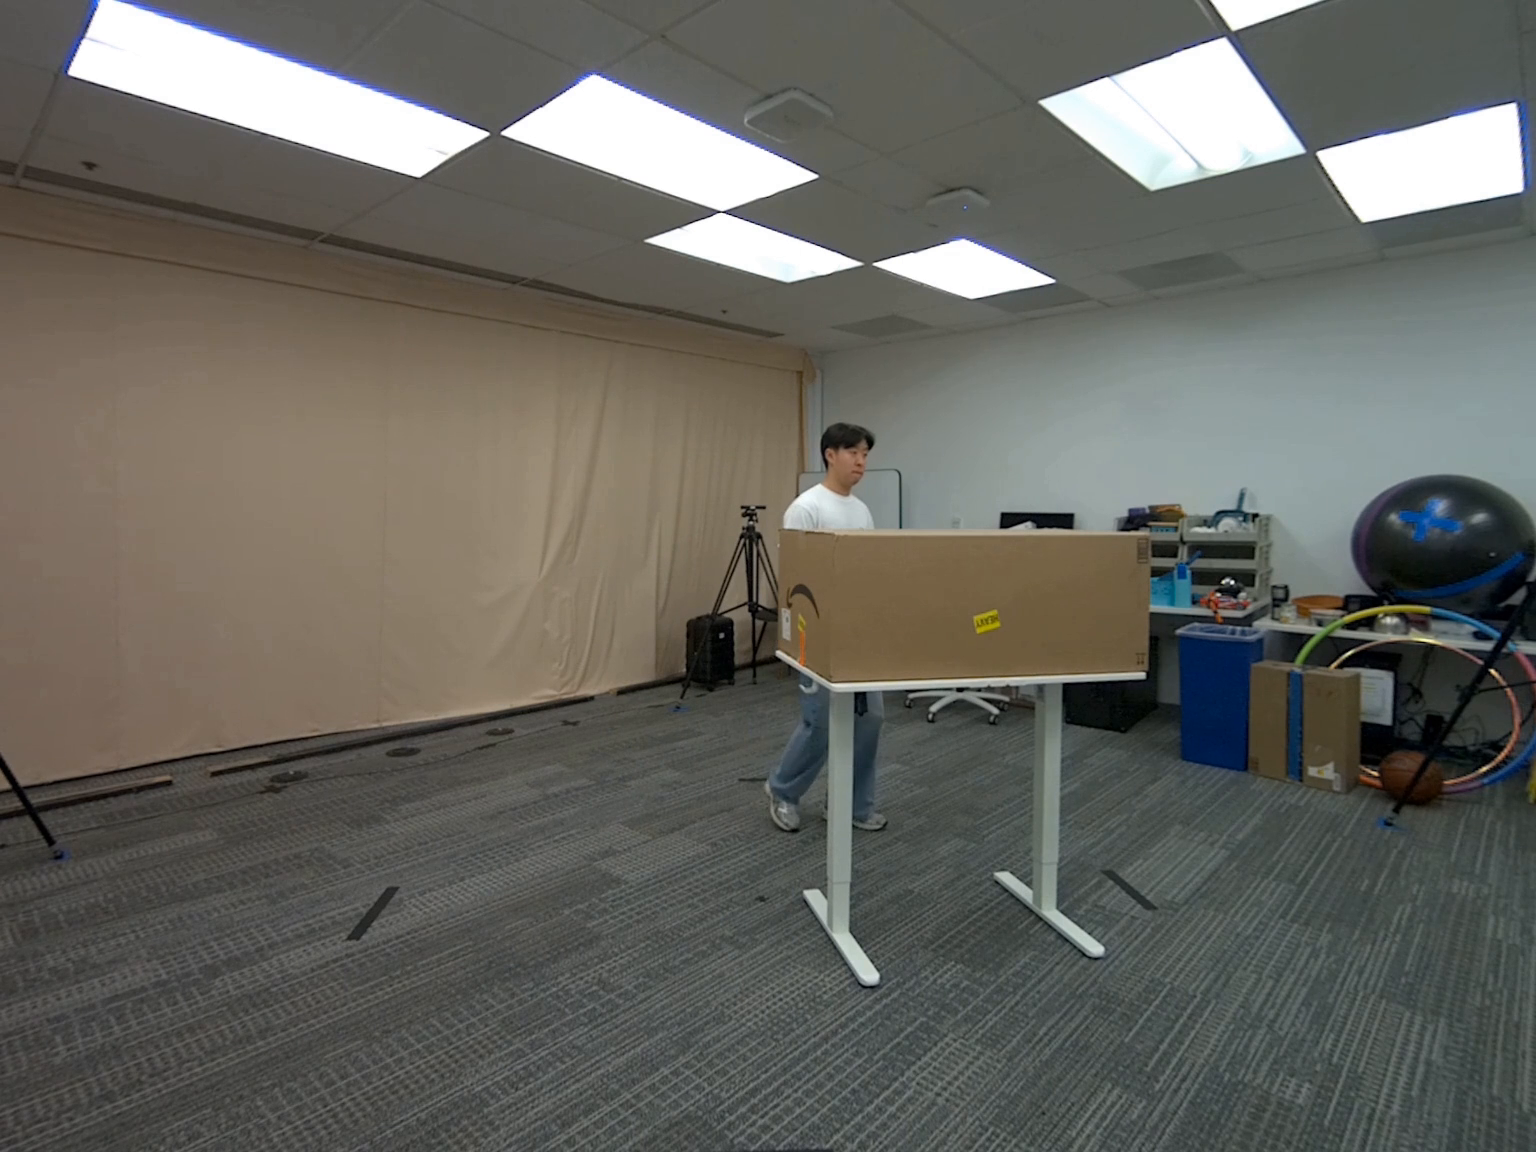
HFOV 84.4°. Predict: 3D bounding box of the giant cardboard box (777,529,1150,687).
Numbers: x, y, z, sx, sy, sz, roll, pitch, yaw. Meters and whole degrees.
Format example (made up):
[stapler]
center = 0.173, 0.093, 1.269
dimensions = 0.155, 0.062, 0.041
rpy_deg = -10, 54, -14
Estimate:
[giant cardboard box]
center = 0.602, 0.069, 2.758
dimensions = 1.013, 0.425, 0.586
rpy_deg = -1, 3, -12
